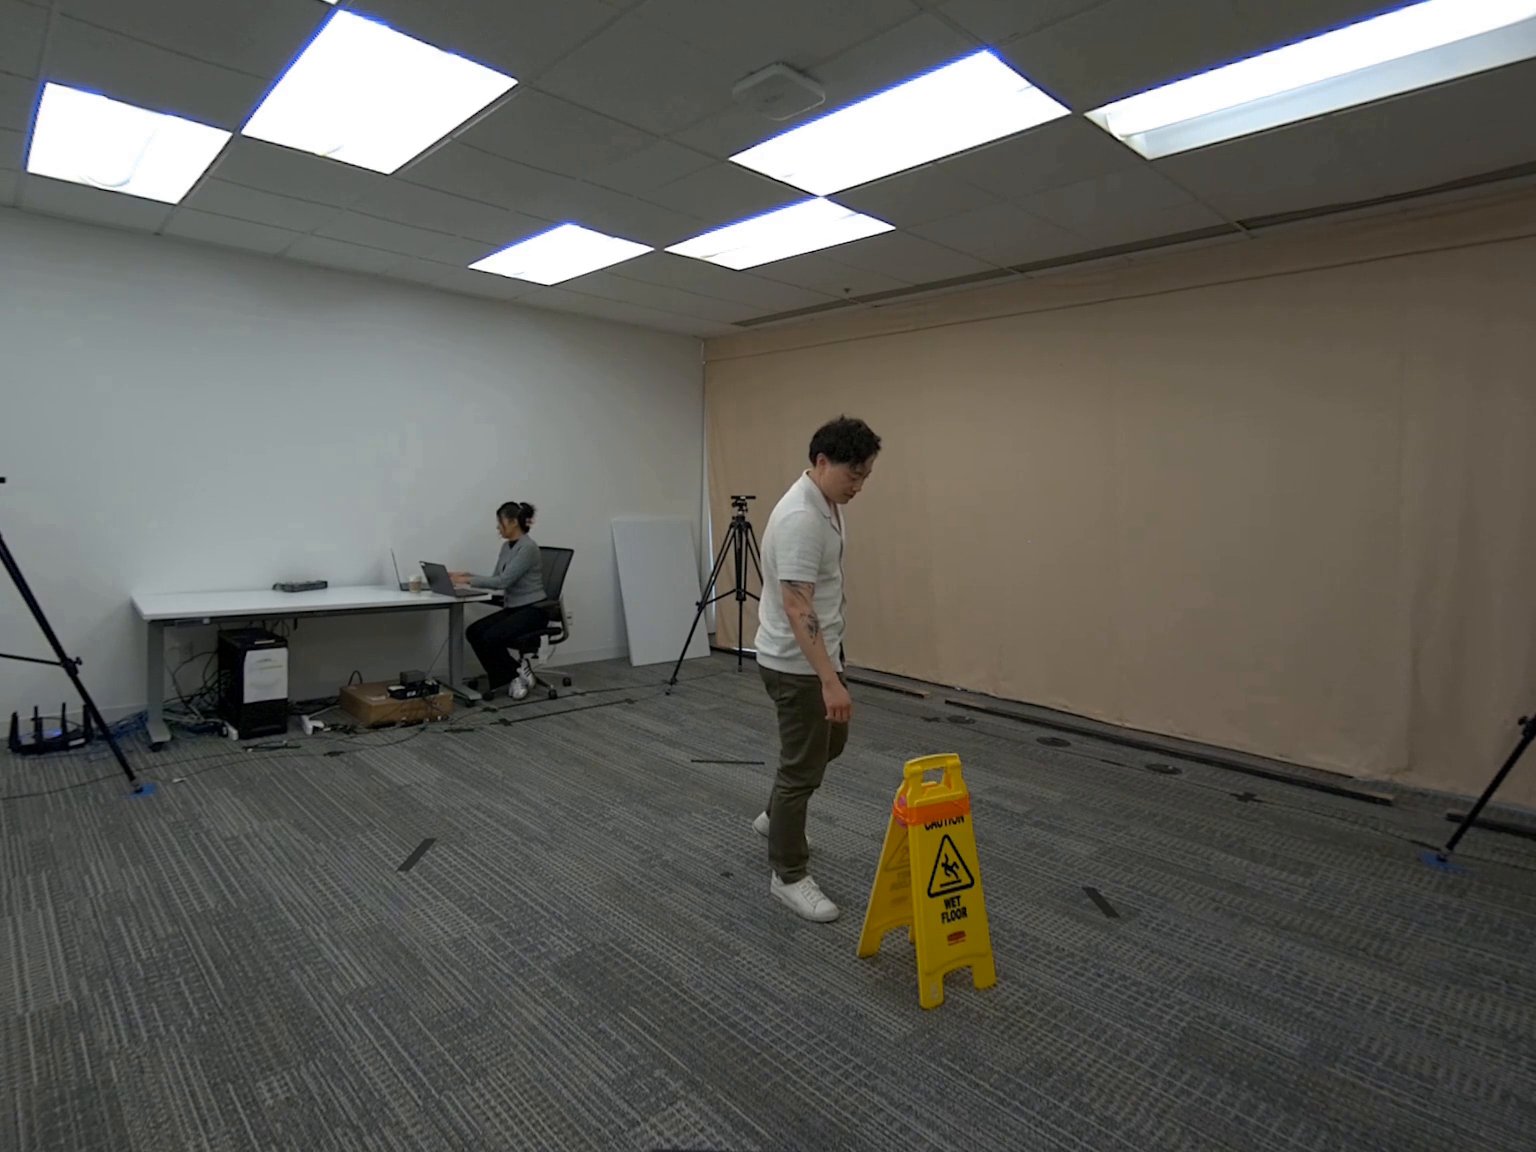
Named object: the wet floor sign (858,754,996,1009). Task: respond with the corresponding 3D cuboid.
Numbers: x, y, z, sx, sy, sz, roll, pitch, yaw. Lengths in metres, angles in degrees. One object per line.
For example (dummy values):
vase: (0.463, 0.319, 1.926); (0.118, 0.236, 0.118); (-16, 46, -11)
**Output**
wet floor sign: (0.467, 0.854, 2.482); (0.276, 0.644, 0.296); (0, 4, -31)
